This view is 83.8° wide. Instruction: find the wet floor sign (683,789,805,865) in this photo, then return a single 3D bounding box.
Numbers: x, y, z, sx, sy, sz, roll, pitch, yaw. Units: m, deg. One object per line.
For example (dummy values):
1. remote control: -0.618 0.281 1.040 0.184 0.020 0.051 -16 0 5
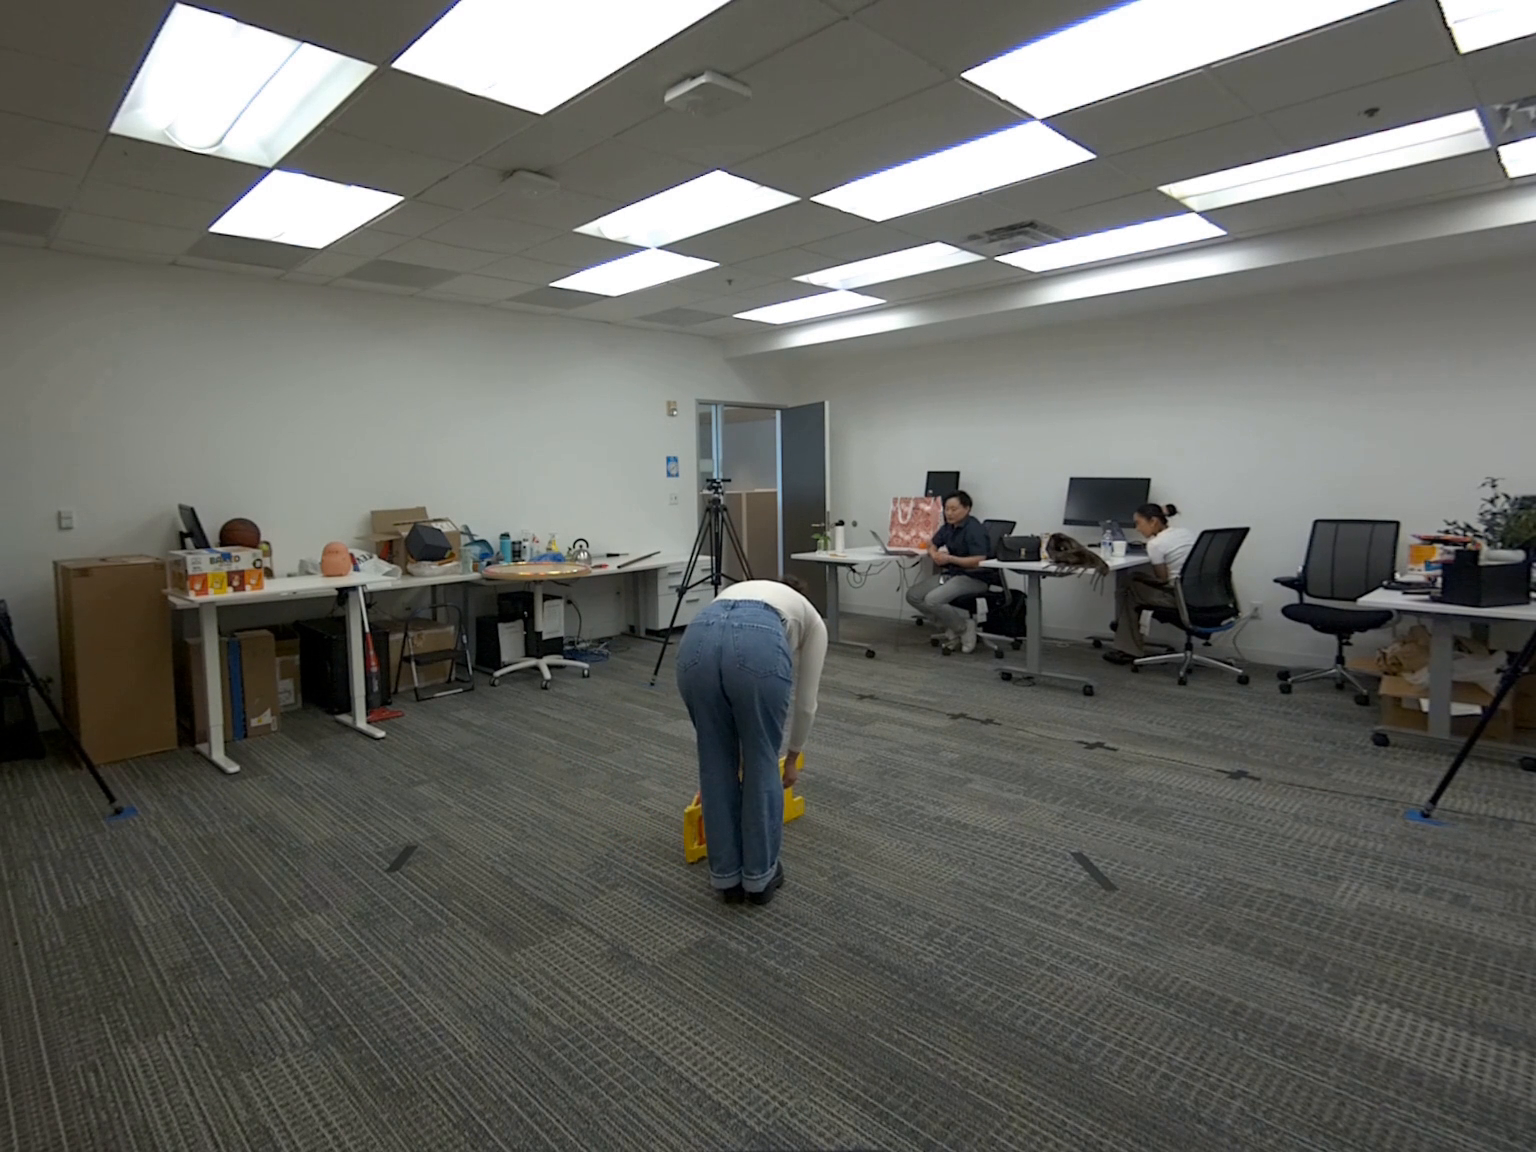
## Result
1. wet floor sign: -0.128 0.889 3.349 0.297 0.280 0.634 1 10 30
